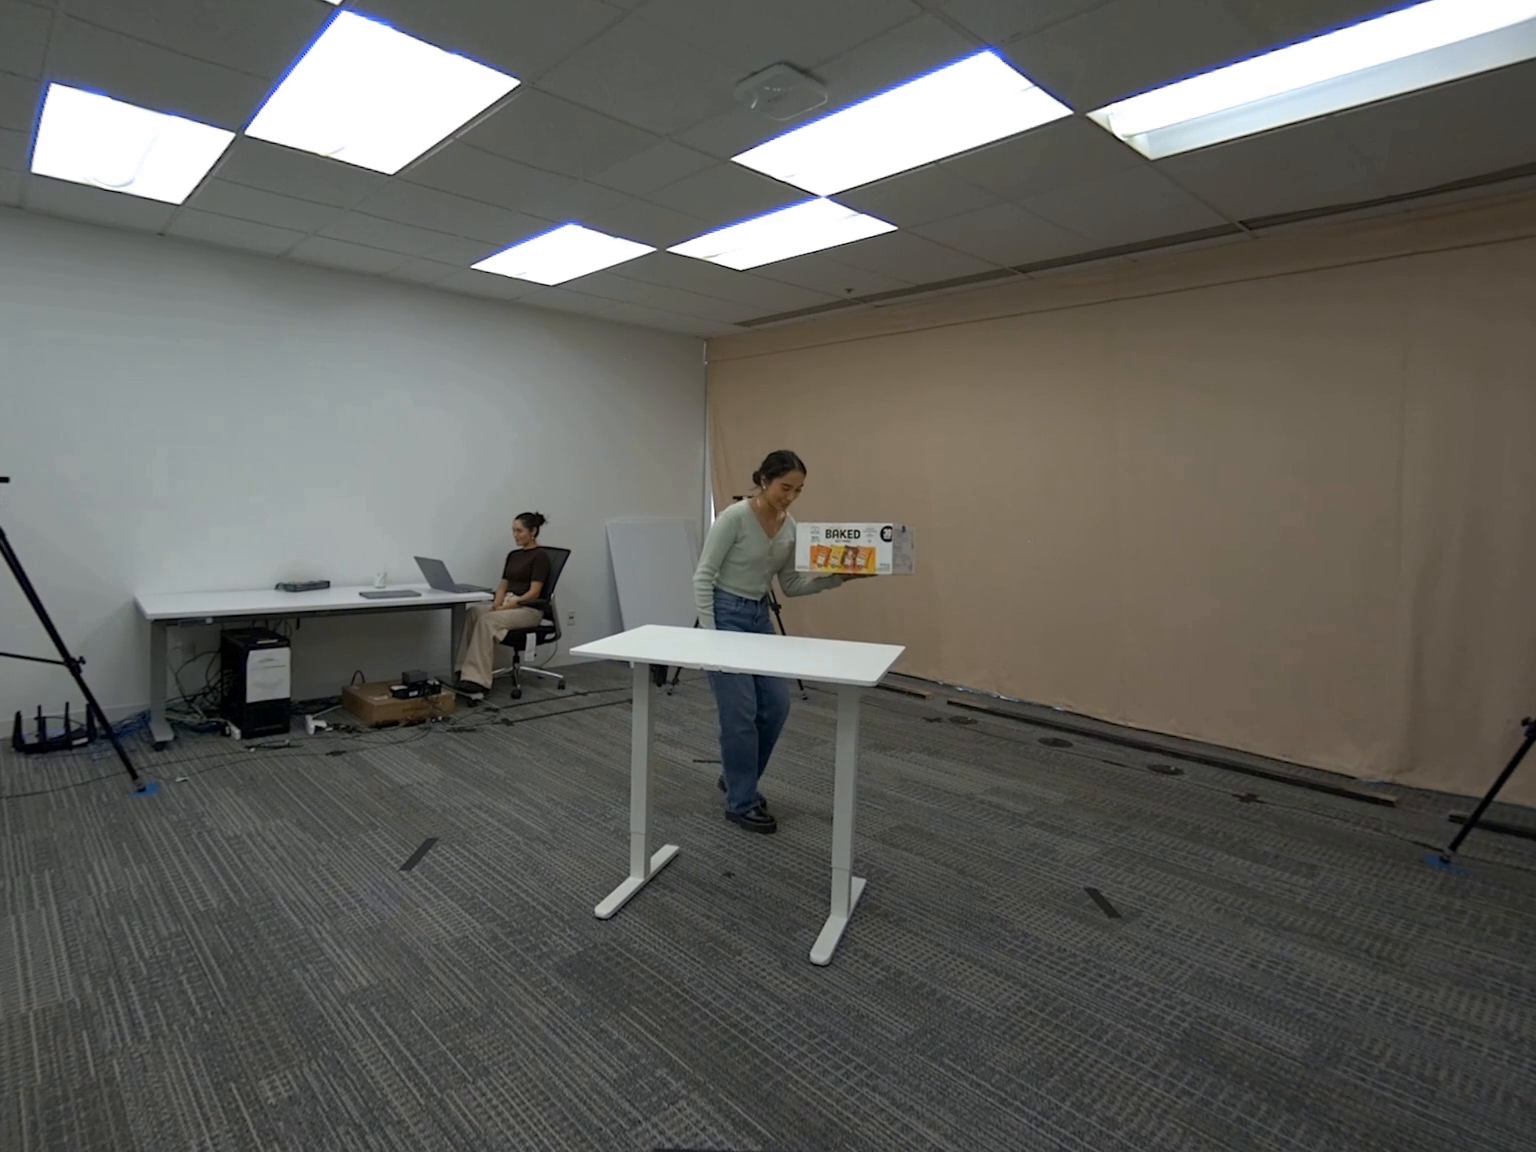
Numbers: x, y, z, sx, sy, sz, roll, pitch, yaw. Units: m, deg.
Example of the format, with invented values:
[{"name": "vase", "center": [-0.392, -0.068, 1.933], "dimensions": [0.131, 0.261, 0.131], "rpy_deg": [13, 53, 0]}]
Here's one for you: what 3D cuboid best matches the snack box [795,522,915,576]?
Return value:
[{"name": "snack box", "center": [0.363, -0.112, 3.520], "dimensions": [0.413, 0.206, 0.333], "rpy_deg": [2, 0, 26]}]
